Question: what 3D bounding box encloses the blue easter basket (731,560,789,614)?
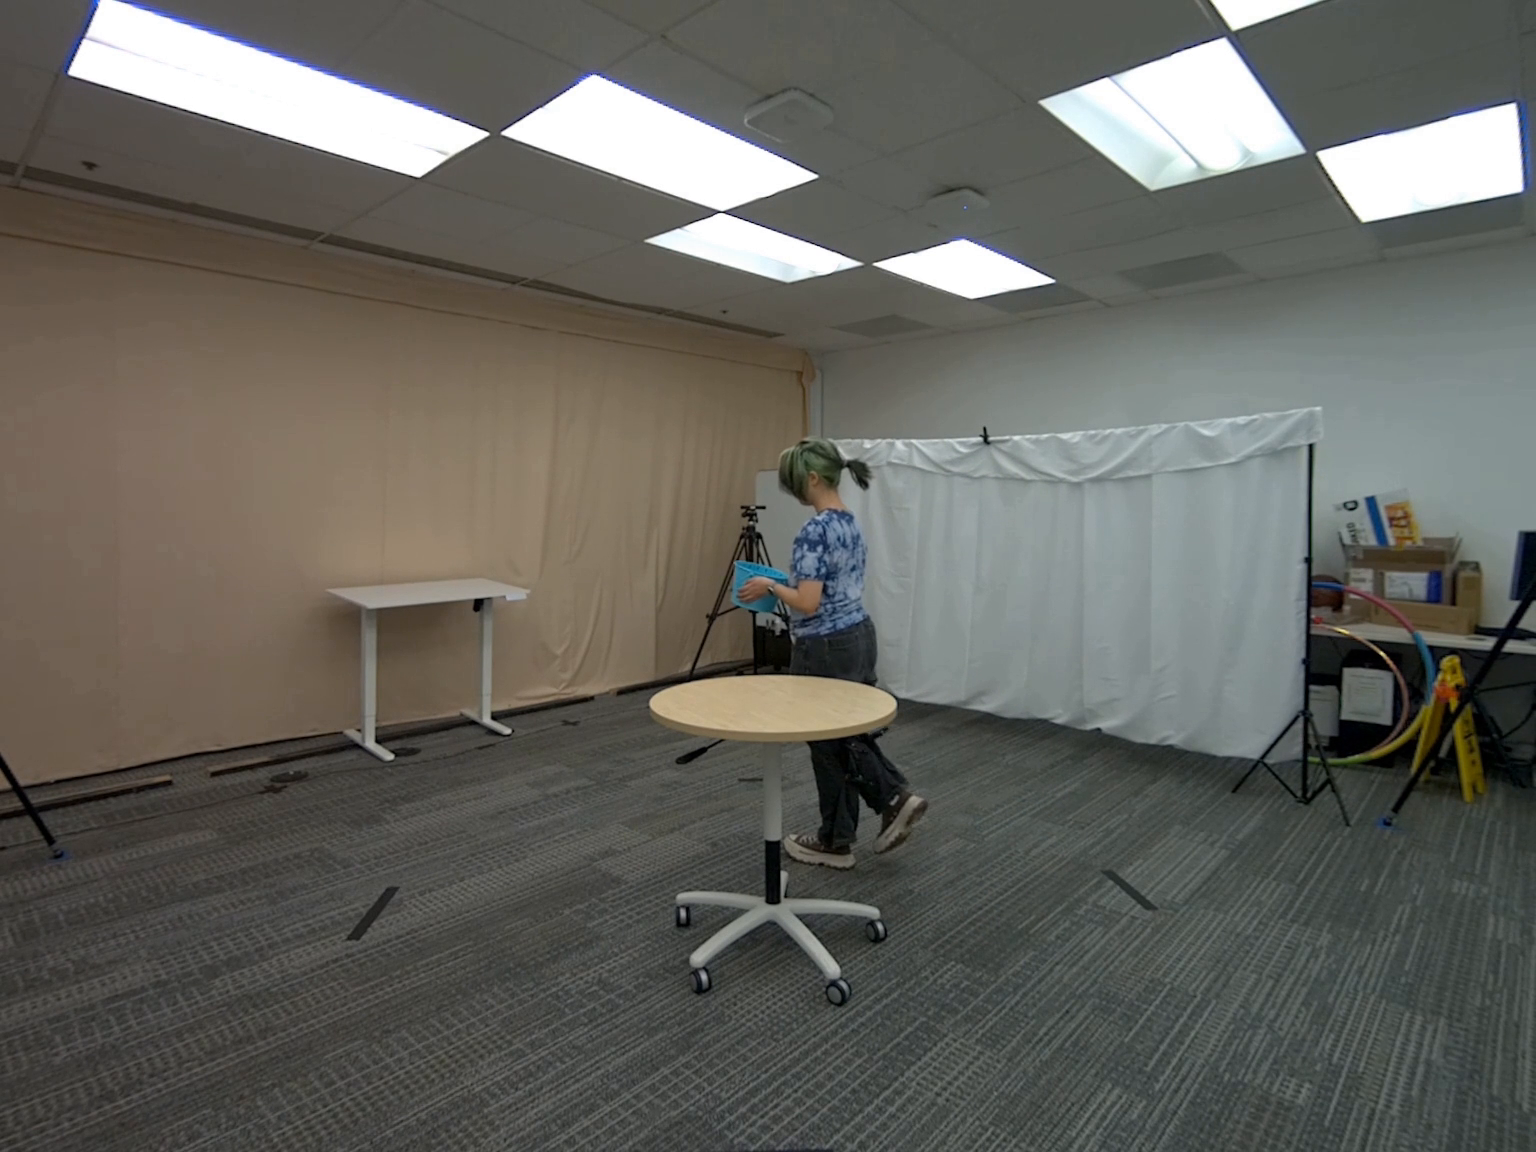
[{"bbox_3d":[-0.035,0.047,3.389,0.243,0.155,0.245,13,8,-4],"label":"blue easter basket"}]
